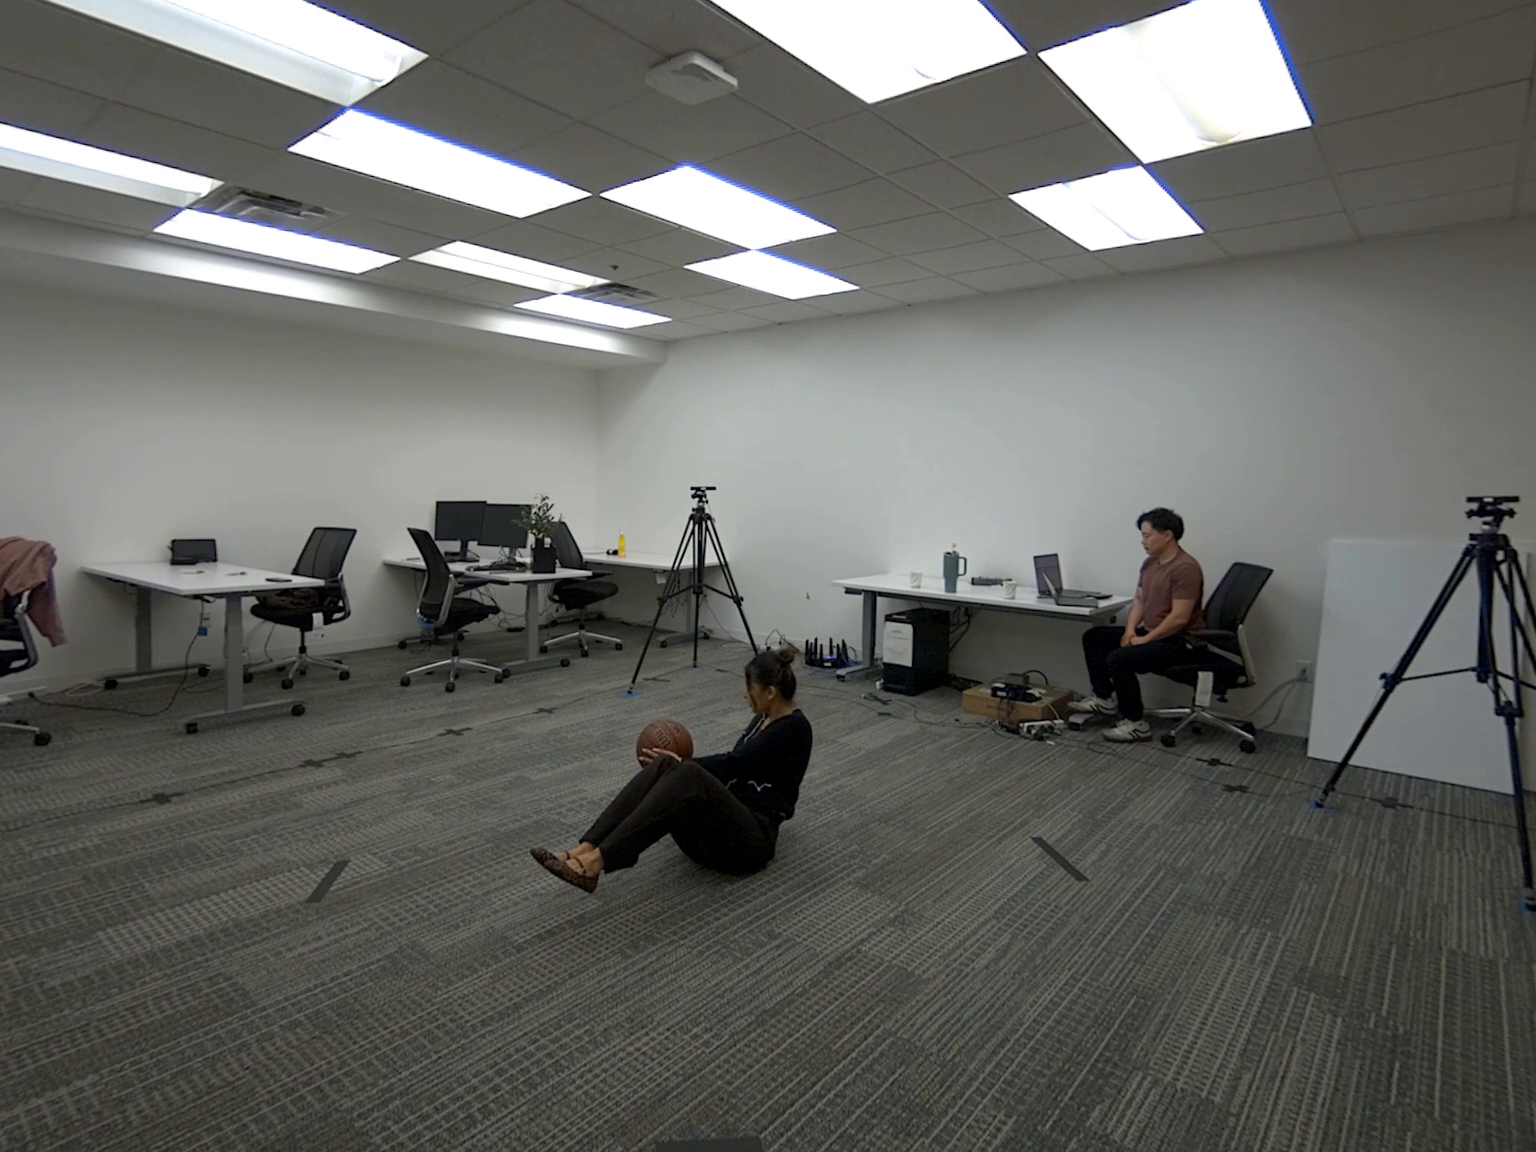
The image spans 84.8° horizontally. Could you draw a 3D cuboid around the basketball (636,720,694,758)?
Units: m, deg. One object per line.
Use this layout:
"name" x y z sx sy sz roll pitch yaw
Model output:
"basketball" -0.433 0.703 3.495 0.235 0.235 0.237 1 4 -2
